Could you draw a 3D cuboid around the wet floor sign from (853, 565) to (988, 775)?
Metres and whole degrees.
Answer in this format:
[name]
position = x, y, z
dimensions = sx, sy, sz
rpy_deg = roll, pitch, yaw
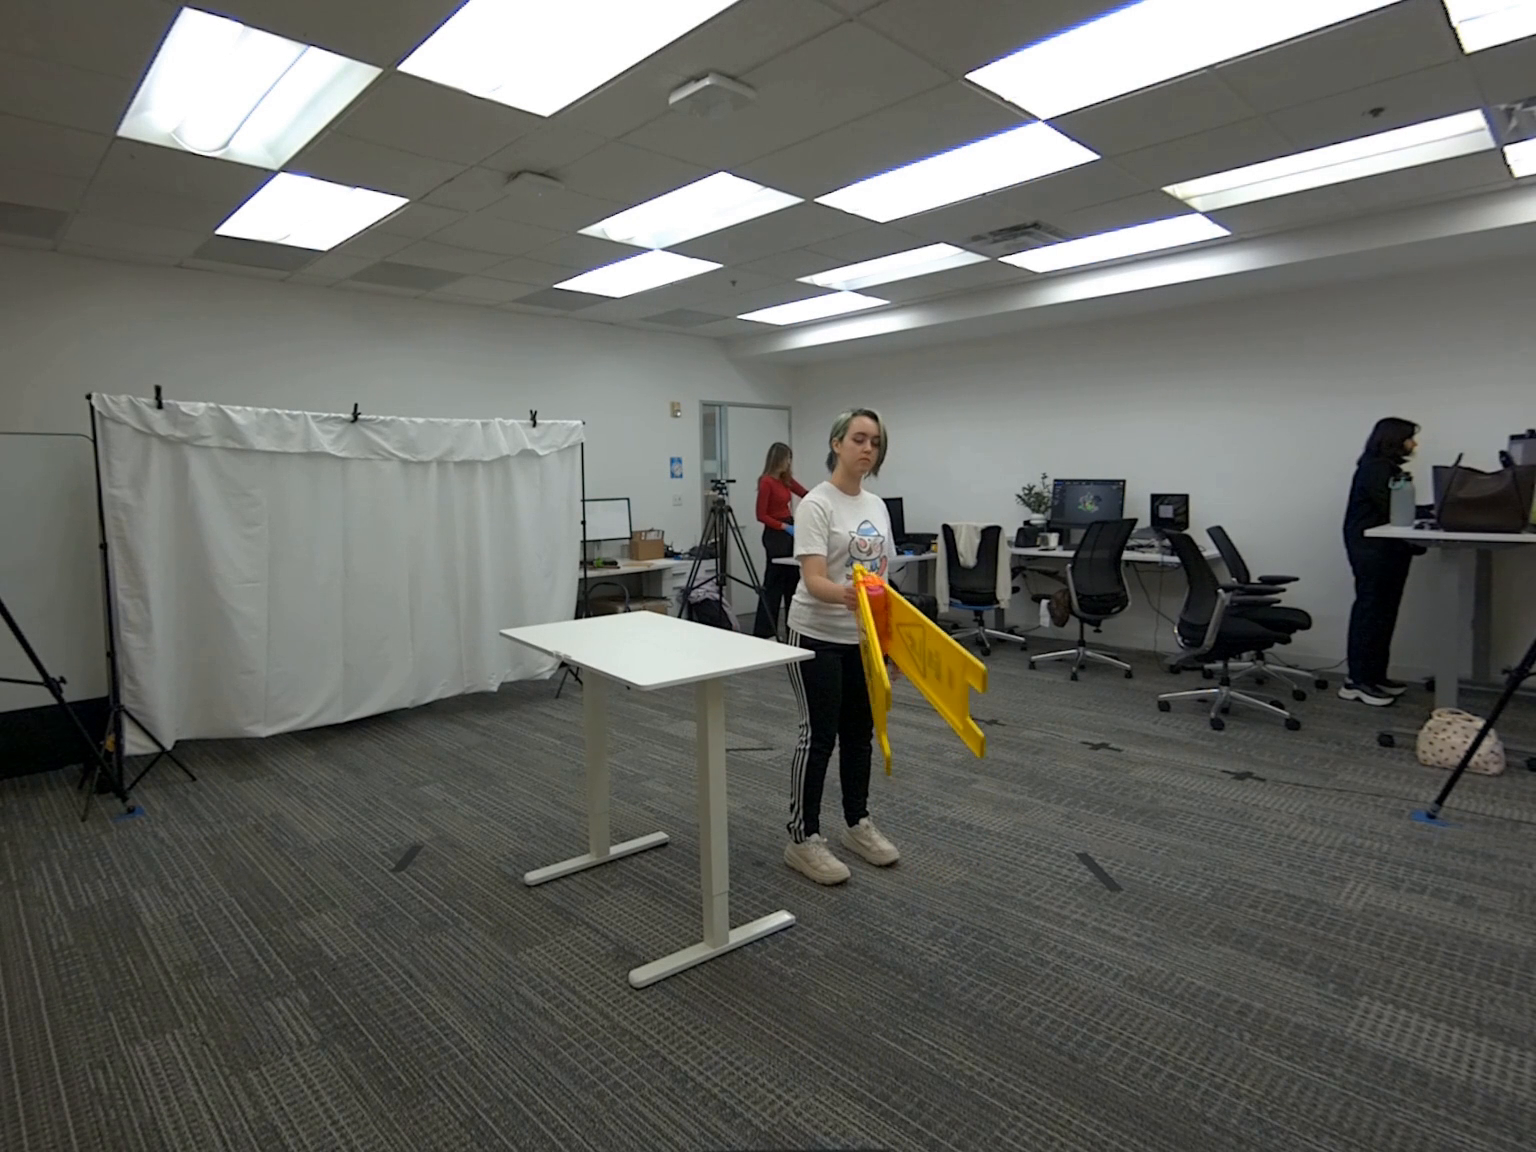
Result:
[wet floor sign]
position = 0.333, 0.206, 2.334
dimensions = 0.288, 0.275, 0.666
rpy_deg = -10, 30, -7
